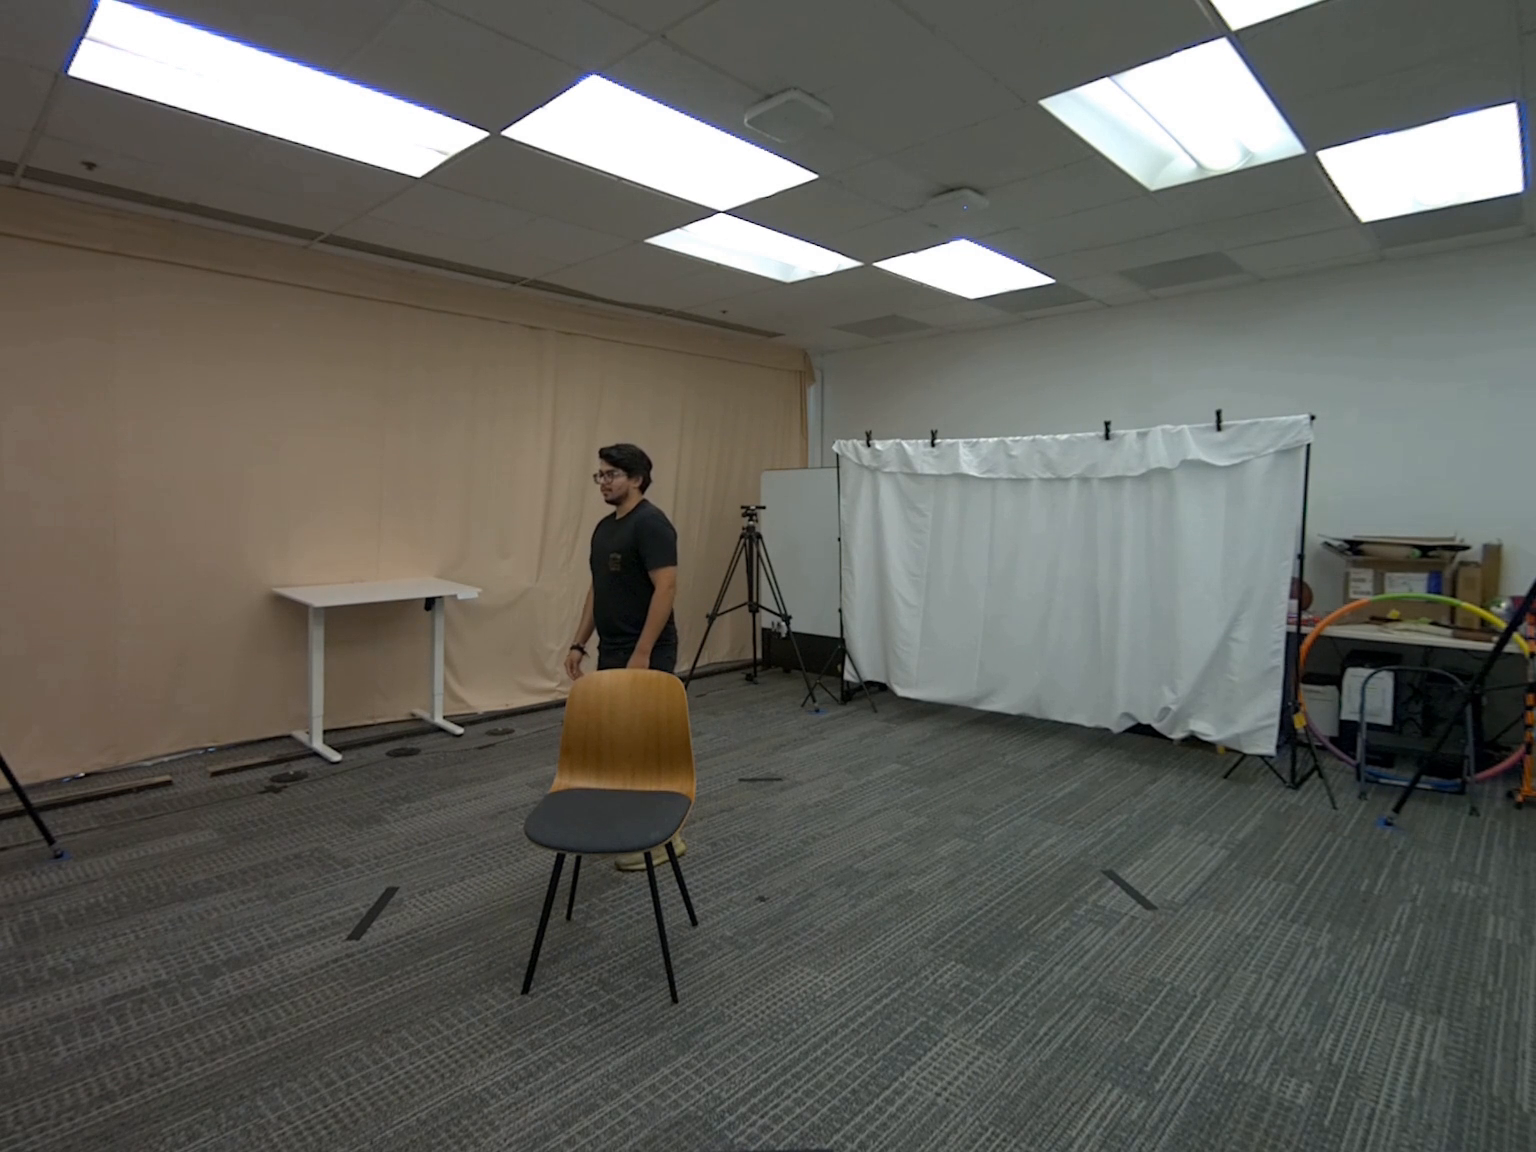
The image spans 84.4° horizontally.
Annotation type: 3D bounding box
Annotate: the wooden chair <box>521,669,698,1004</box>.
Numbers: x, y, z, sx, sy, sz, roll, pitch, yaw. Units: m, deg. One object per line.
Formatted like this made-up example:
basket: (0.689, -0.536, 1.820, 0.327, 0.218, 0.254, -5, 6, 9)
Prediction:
wooden chair: (-0.459, 0.754, 2.567, 0.481, 0.878, 0.520, 0, -1, 4)
